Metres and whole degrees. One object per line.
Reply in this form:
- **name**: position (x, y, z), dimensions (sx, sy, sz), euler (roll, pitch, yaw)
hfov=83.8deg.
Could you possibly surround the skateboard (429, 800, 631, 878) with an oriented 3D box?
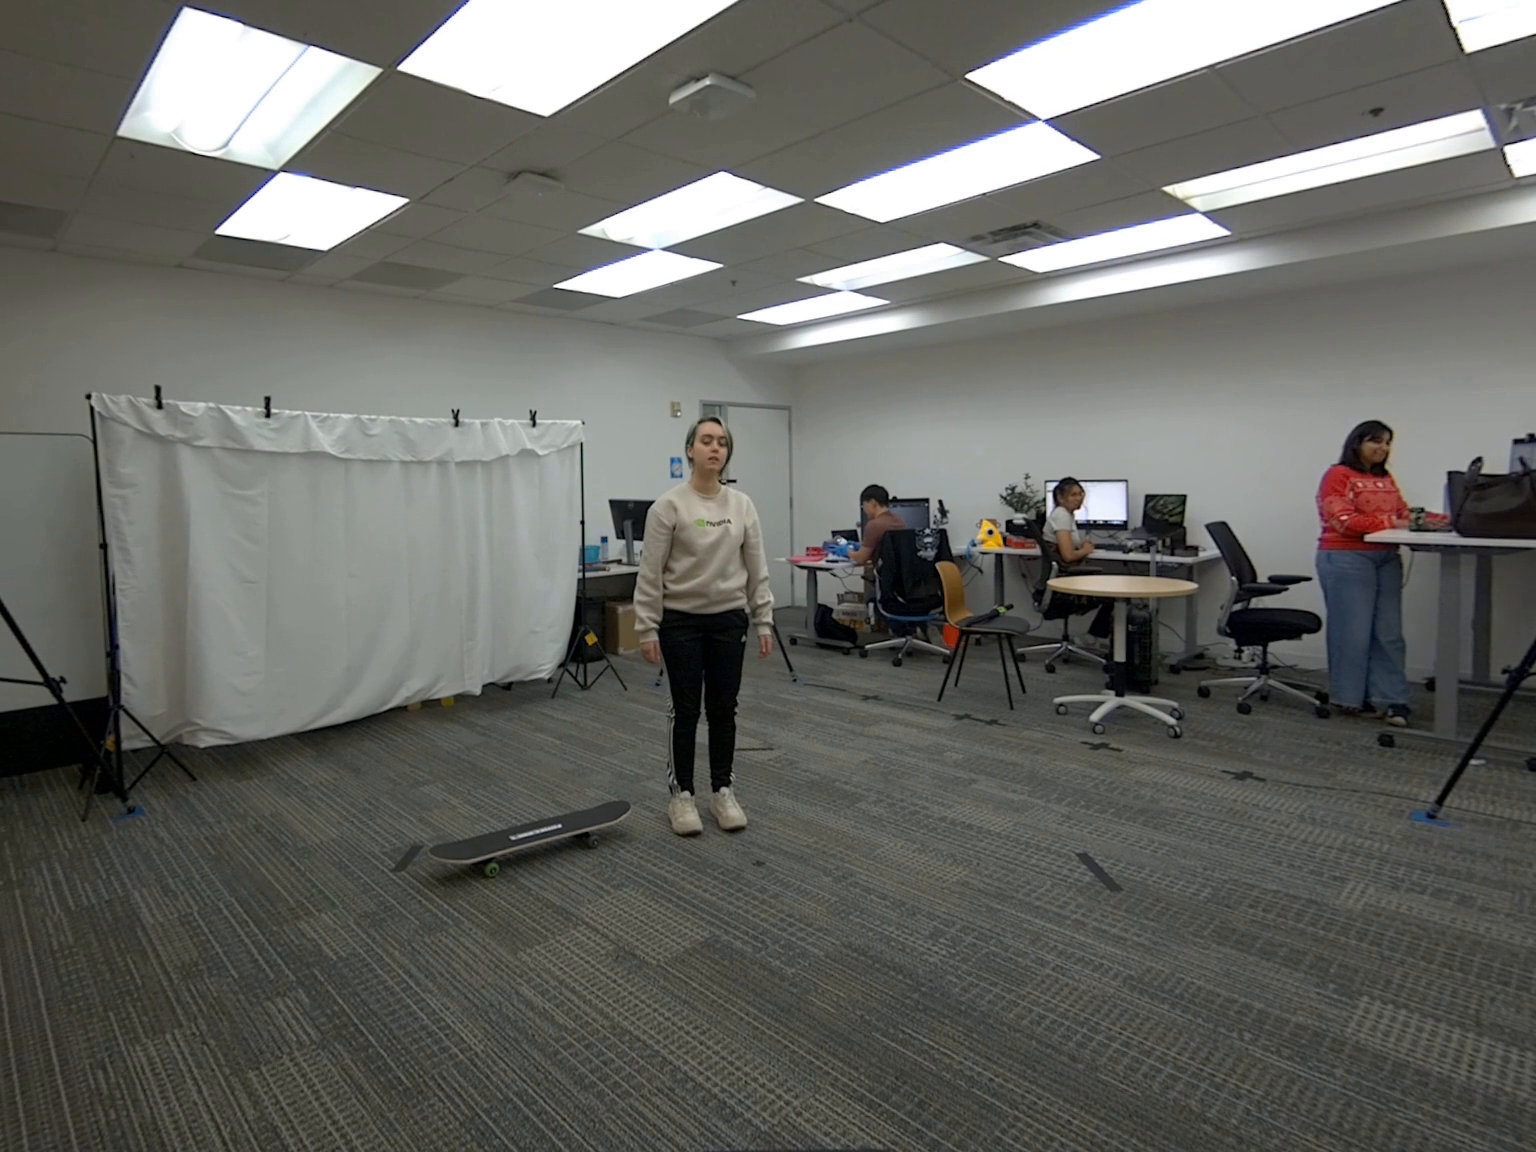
- **skateboard**: position (-0.878, 0.999, 3.225), dimensions (0.766, 0.110, 0.199), euler (-6, 7, -34)
